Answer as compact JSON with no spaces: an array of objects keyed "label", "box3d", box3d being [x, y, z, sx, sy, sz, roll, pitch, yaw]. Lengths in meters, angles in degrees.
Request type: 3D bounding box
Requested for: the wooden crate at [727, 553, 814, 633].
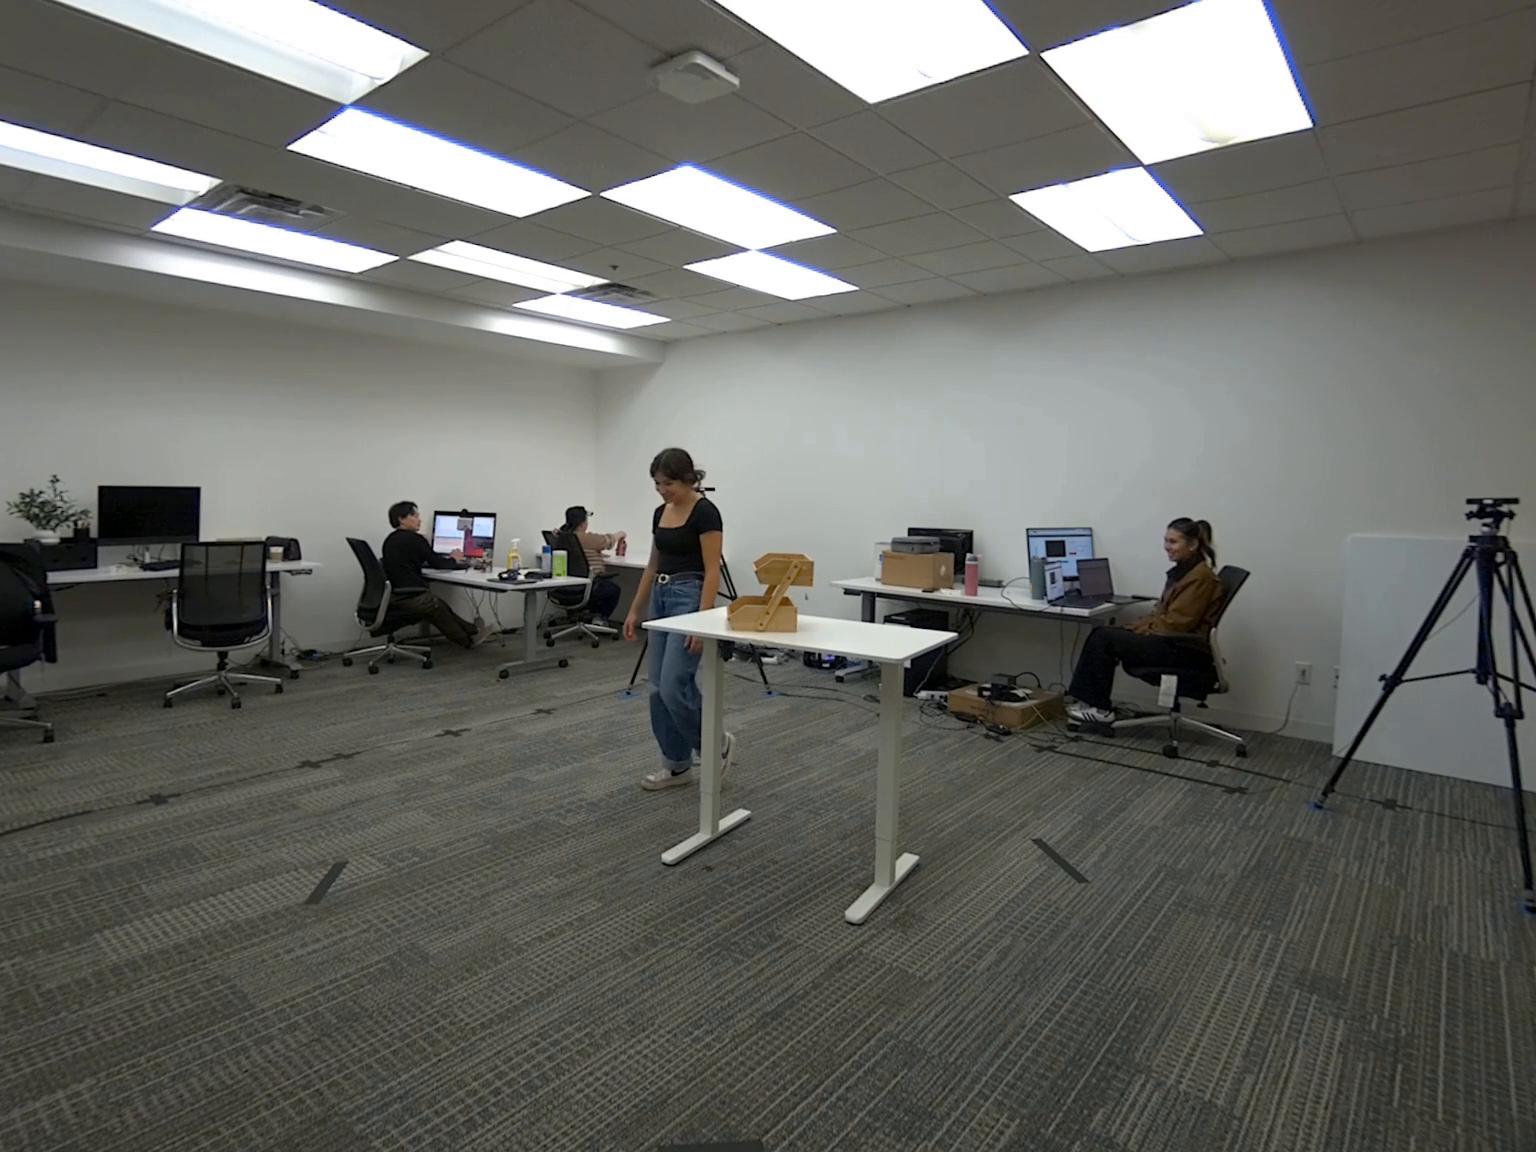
[{"label":"wooden crate","box3d":[-0.013,0.051,3.177,0.302,0.272,0.326,2,5,-2]}]
